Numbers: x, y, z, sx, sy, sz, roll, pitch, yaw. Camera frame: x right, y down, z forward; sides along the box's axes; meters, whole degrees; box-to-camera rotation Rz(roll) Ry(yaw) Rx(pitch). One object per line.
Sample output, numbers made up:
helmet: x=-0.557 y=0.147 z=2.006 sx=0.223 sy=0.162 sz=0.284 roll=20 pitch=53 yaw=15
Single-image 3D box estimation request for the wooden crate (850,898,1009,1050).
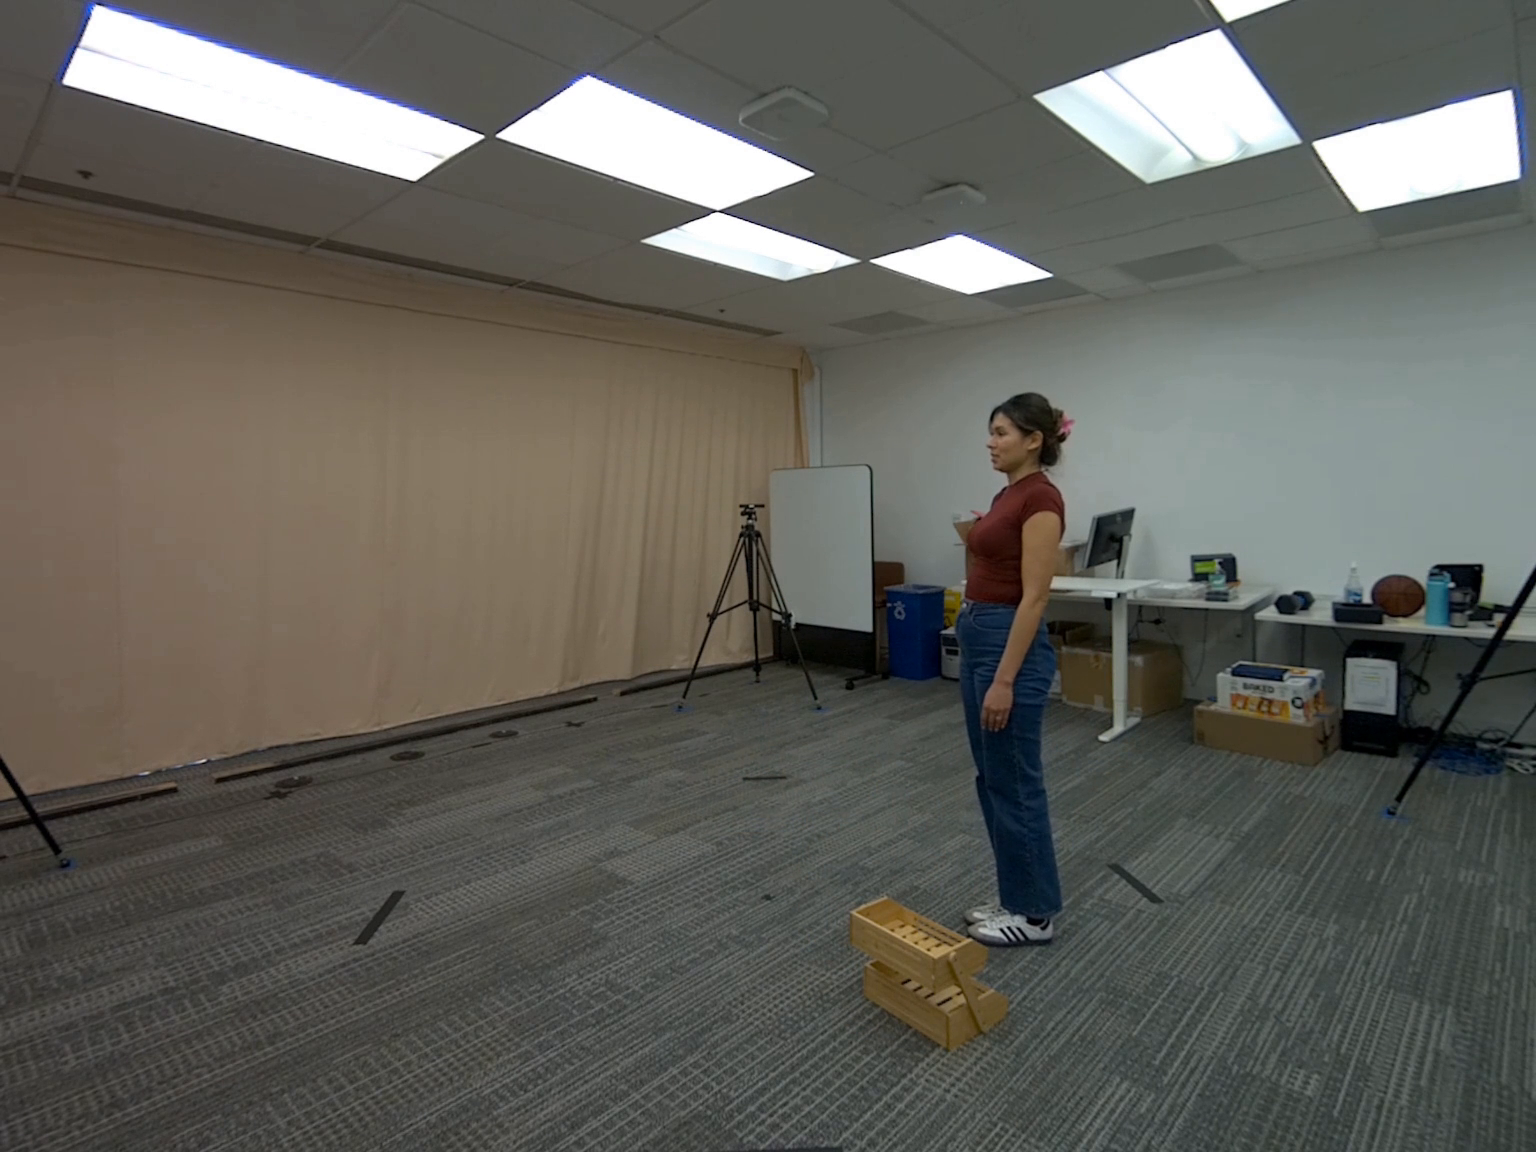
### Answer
wooden crate: x=0.446 y=1.057 z=2.303 sx=0.293 sy=0.273 sz=0.335 roll=-4 pitch=5 yaw=-38
